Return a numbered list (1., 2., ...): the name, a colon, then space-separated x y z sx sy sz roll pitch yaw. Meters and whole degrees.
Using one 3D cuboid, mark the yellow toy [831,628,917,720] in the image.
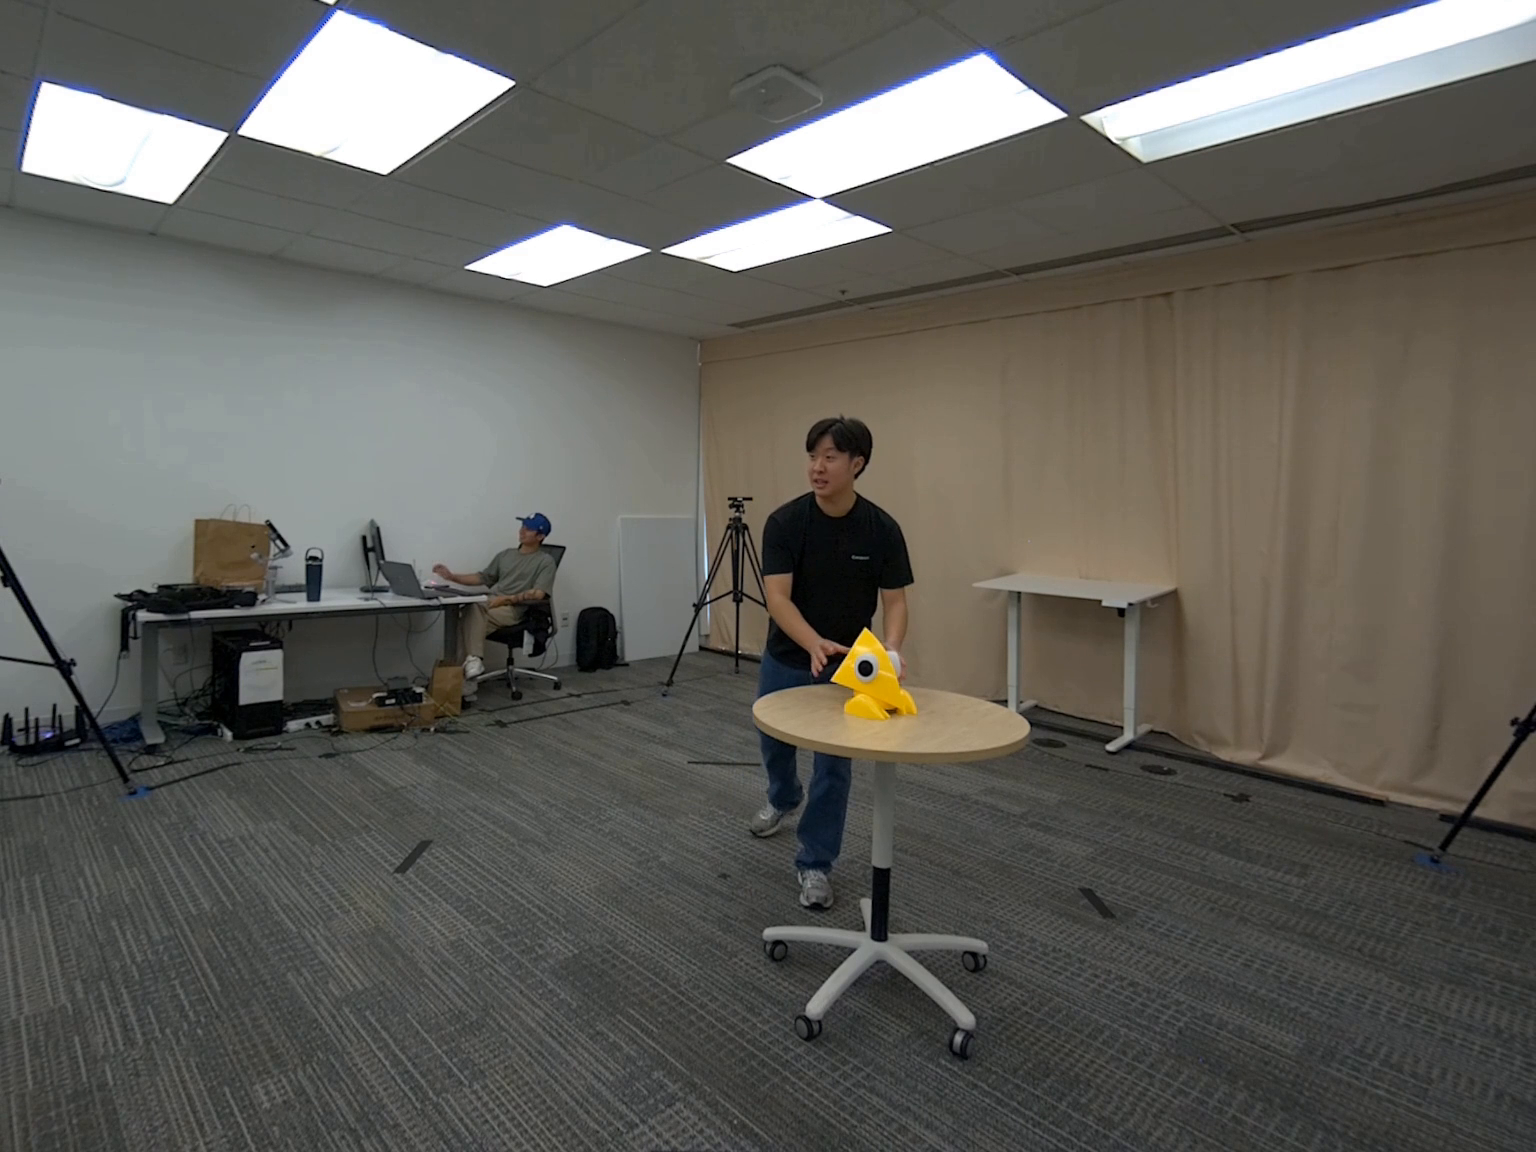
1. yellow toy: 0.307 0.275 2.405 0.200 0.230 0.198 -1 5 -36
